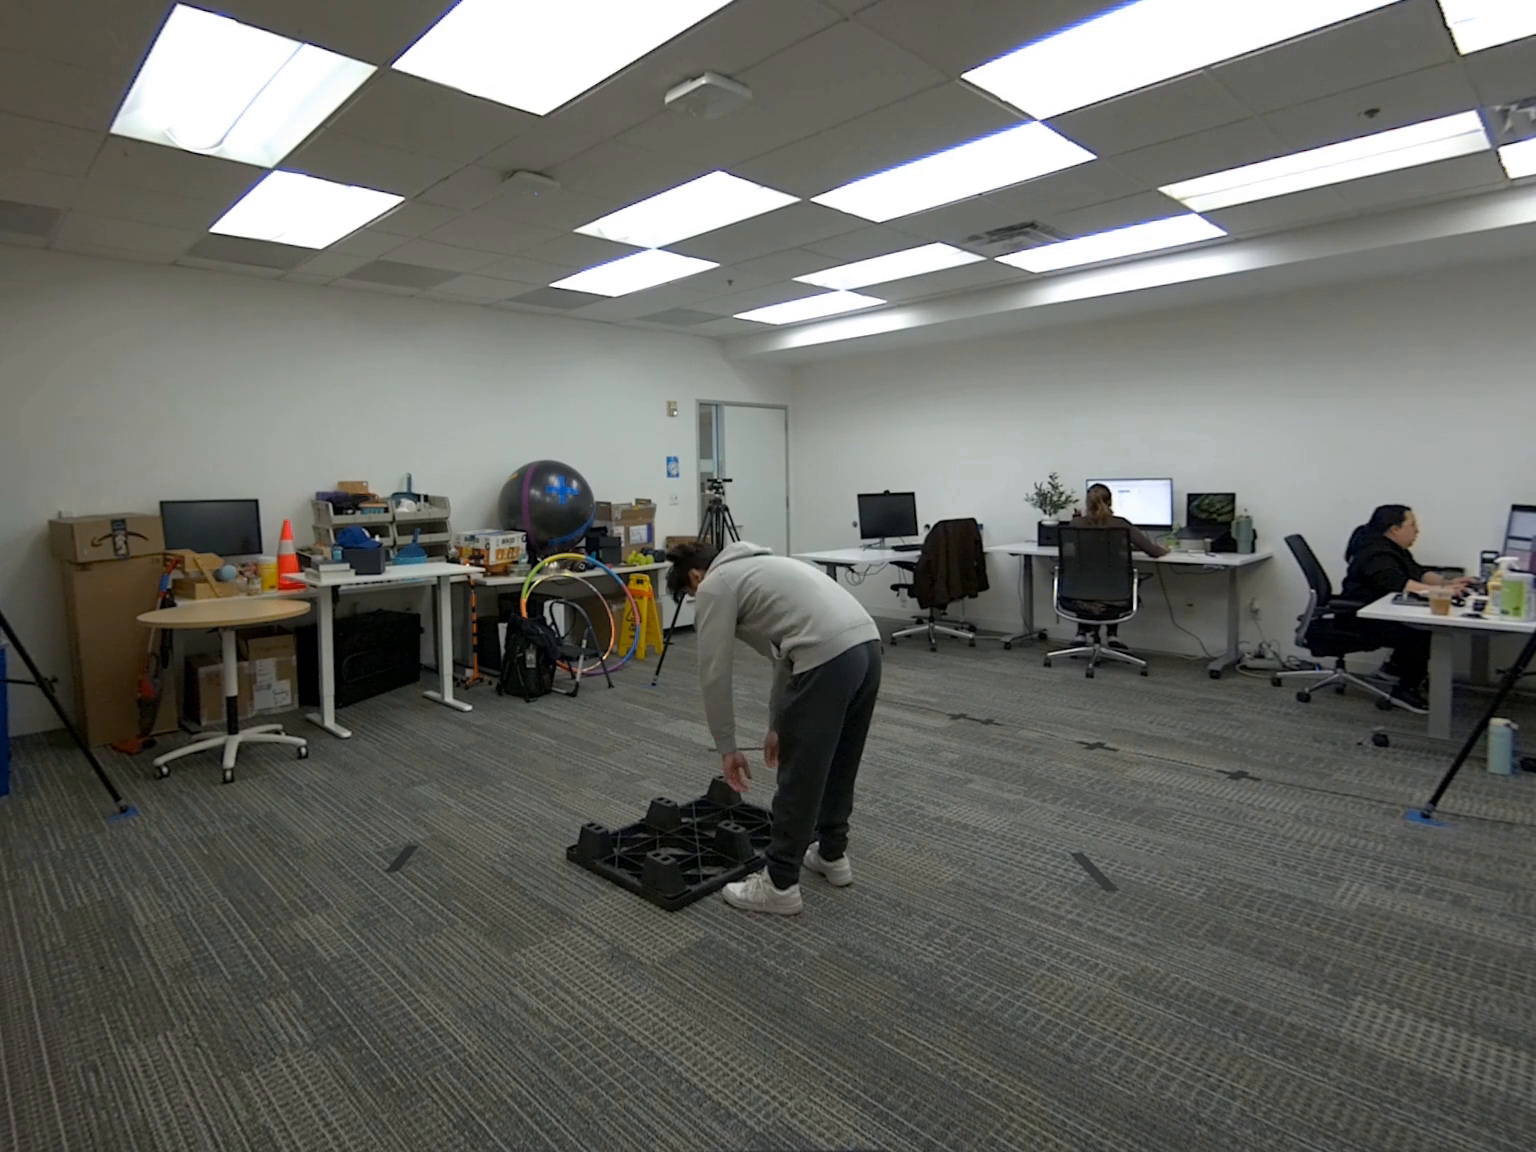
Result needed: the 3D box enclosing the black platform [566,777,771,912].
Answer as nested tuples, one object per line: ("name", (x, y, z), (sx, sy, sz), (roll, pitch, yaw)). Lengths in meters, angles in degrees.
("black platform", (-0.270, 0.968, 3.251), (0.624, 0.143, 0.784), (5, 8, 42))
